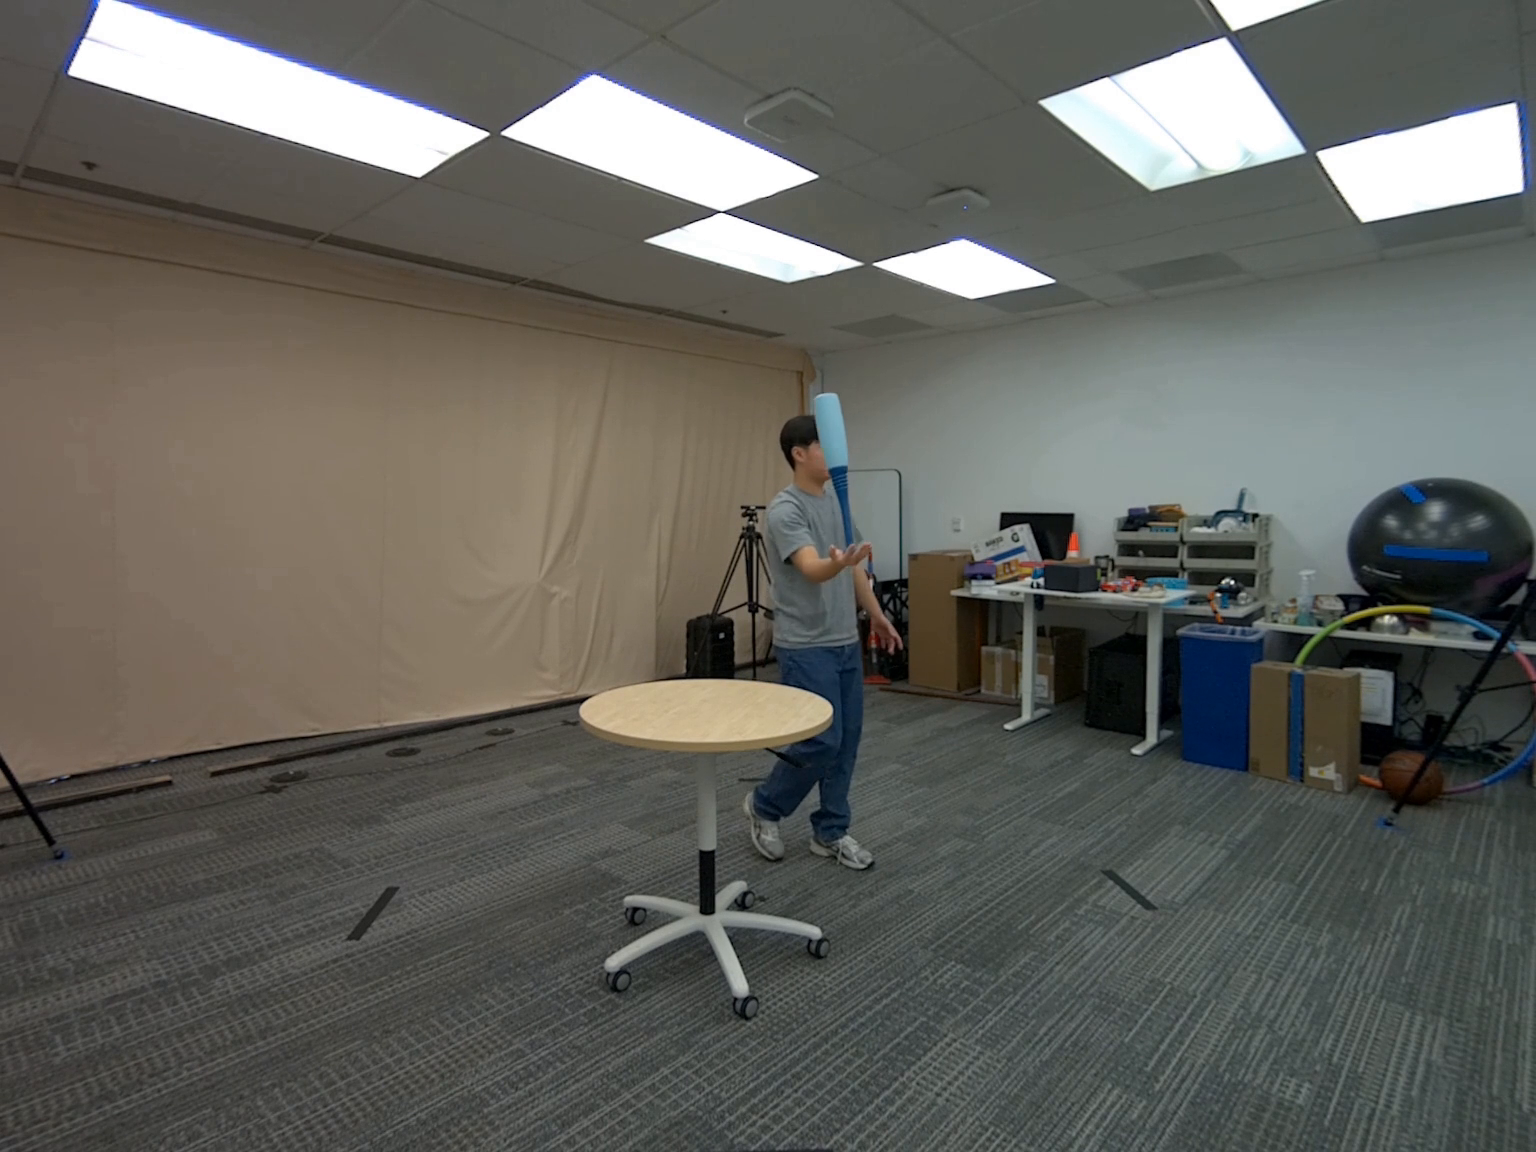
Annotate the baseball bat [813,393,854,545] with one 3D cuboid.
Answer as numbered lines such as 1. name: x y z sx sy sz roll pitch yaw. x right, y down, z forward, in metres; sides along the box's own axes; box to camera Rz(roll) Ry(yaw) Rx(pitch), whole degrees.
1. baseball bat: 0.229 -0.333 2.775 0.089 0.546 0.089 -8 -7 -3
